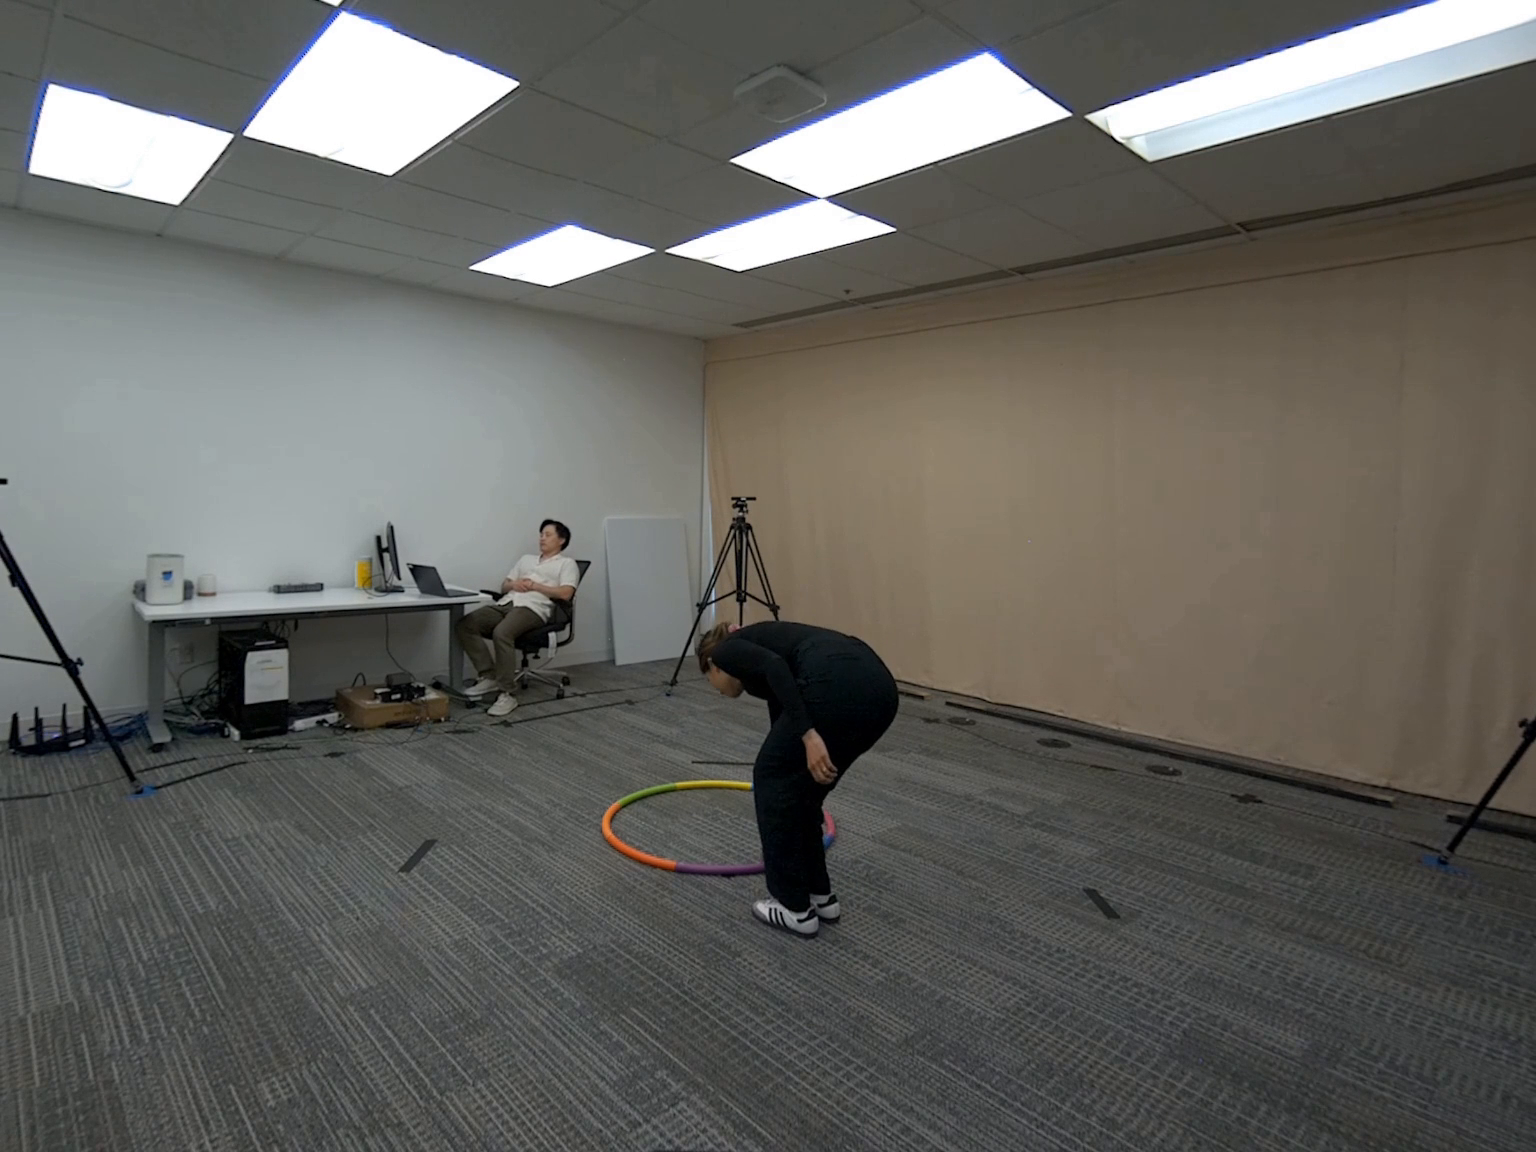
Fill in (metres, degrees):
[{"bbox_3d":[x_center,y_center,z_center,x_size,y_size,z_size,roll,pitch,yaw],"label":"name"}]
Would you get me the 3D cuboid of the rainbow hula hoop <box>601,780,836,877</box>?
[{"bbox_3d":[-0.215,1.033,3.583,0.978,0.035,0.982,2,5,-1],"label":"rainbow hula hoop"}]
